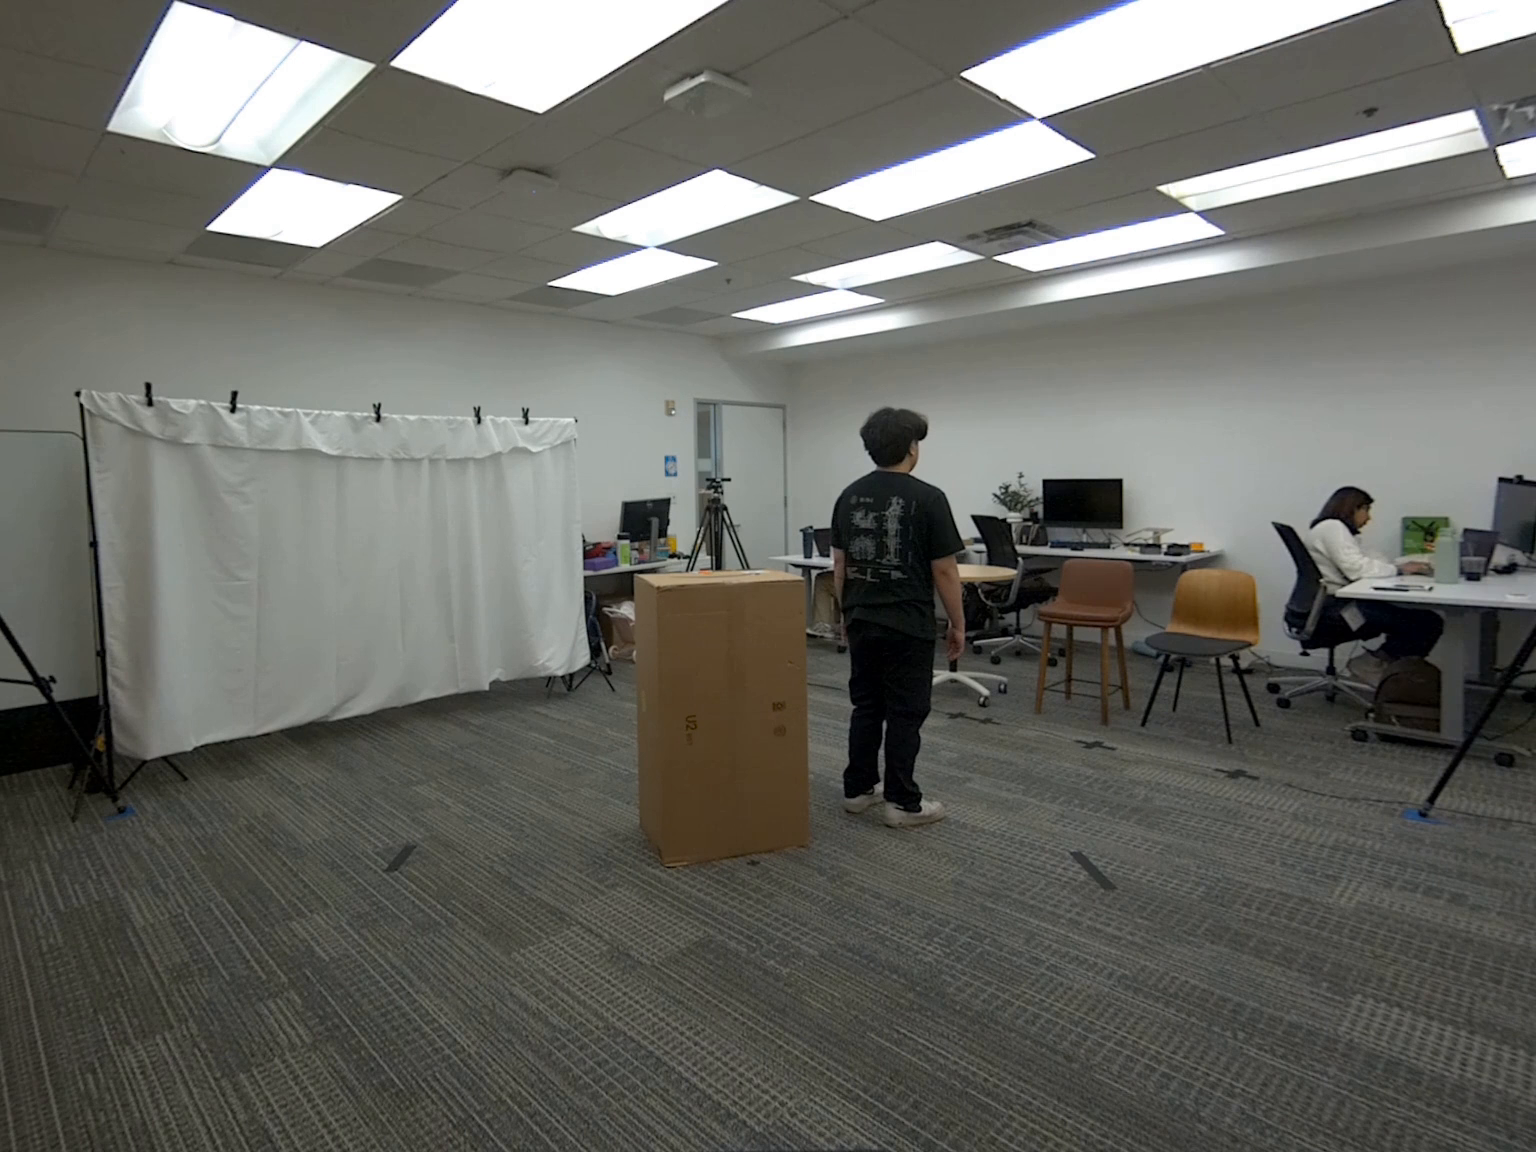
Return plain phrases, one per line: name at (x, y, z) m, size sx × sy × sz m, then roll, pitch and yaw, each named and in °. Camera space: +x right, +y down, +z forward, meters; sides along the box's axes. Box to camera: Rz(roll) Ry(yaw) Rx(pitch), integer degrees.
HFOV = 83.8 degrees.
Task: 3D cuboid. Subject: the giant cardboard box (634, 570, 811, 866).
giant cardboard box at (-0.190, 0.506, 3.330) m, size 0.575 × 1.024 × 0.455 m, roll -2°, pitch 3°, yaw -18°
